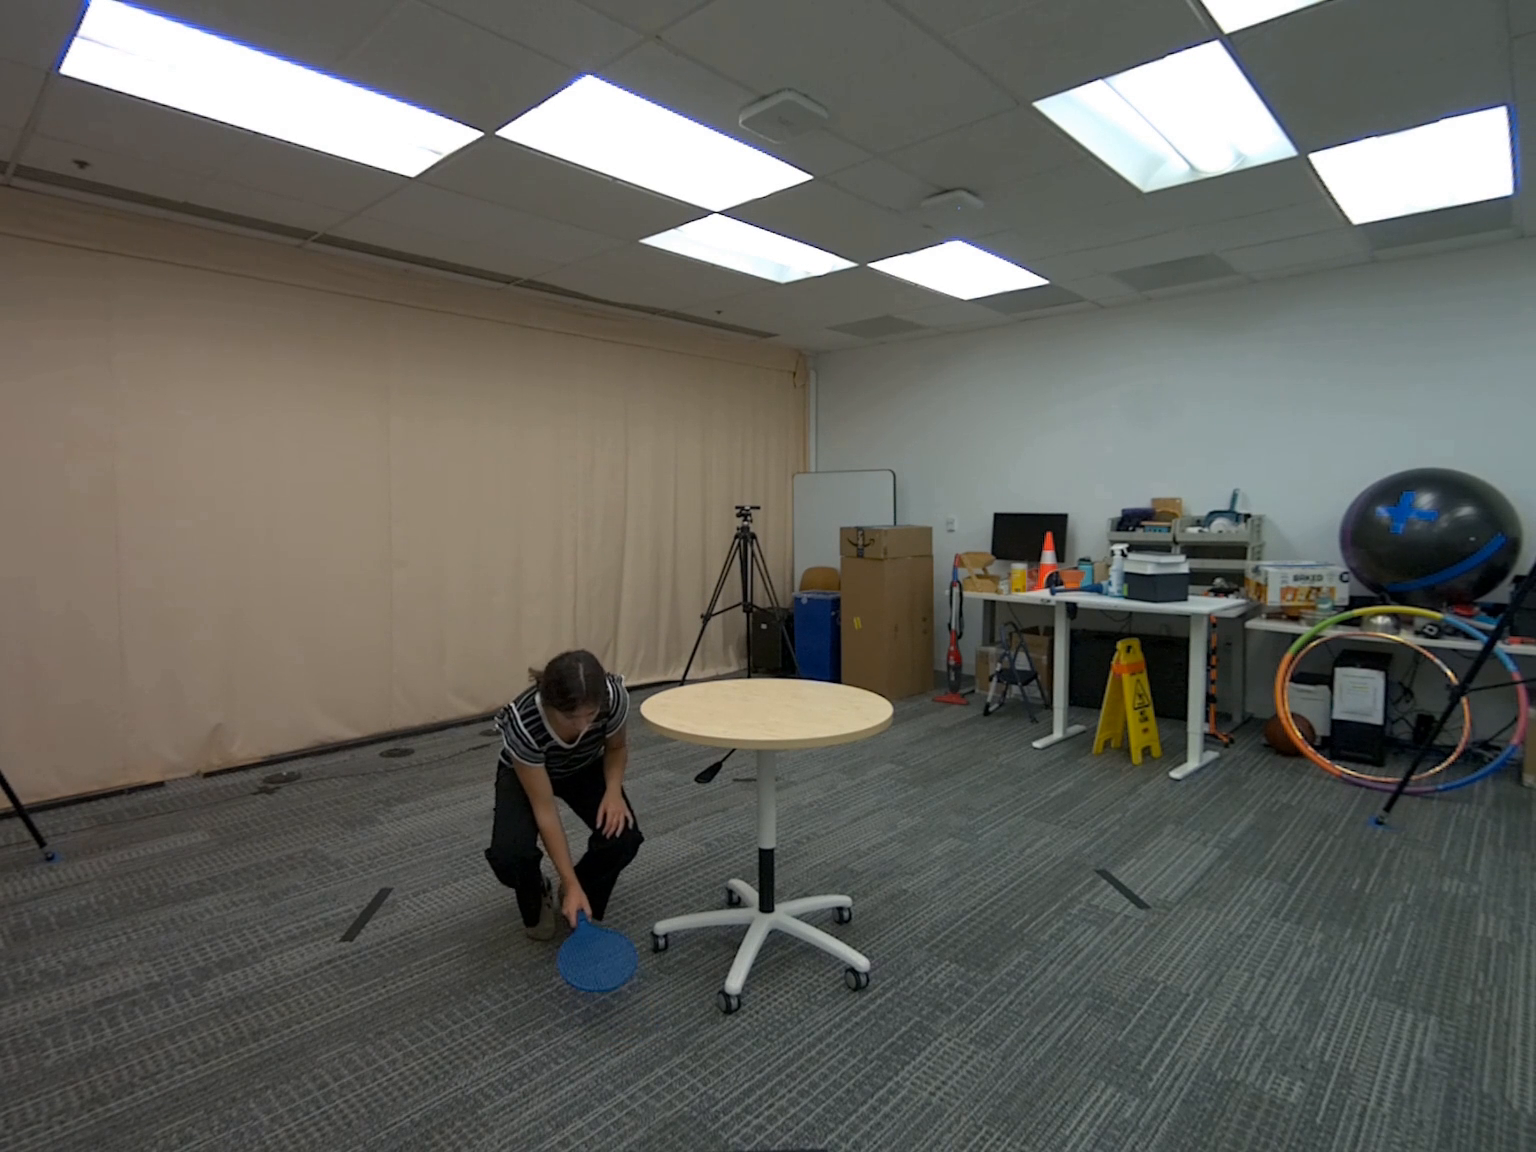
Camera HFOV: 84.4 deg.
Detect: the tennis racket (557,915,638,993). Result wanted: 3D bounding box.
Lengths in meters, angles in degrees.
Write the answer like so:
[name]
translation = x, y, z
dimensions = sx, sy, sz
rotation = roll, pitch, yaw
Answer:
[tennis racket]
translation = -0.485, 1.025, 2.365
dimensions = 0.210, 0.031, 0.443
rotation = -4, 10, -19
